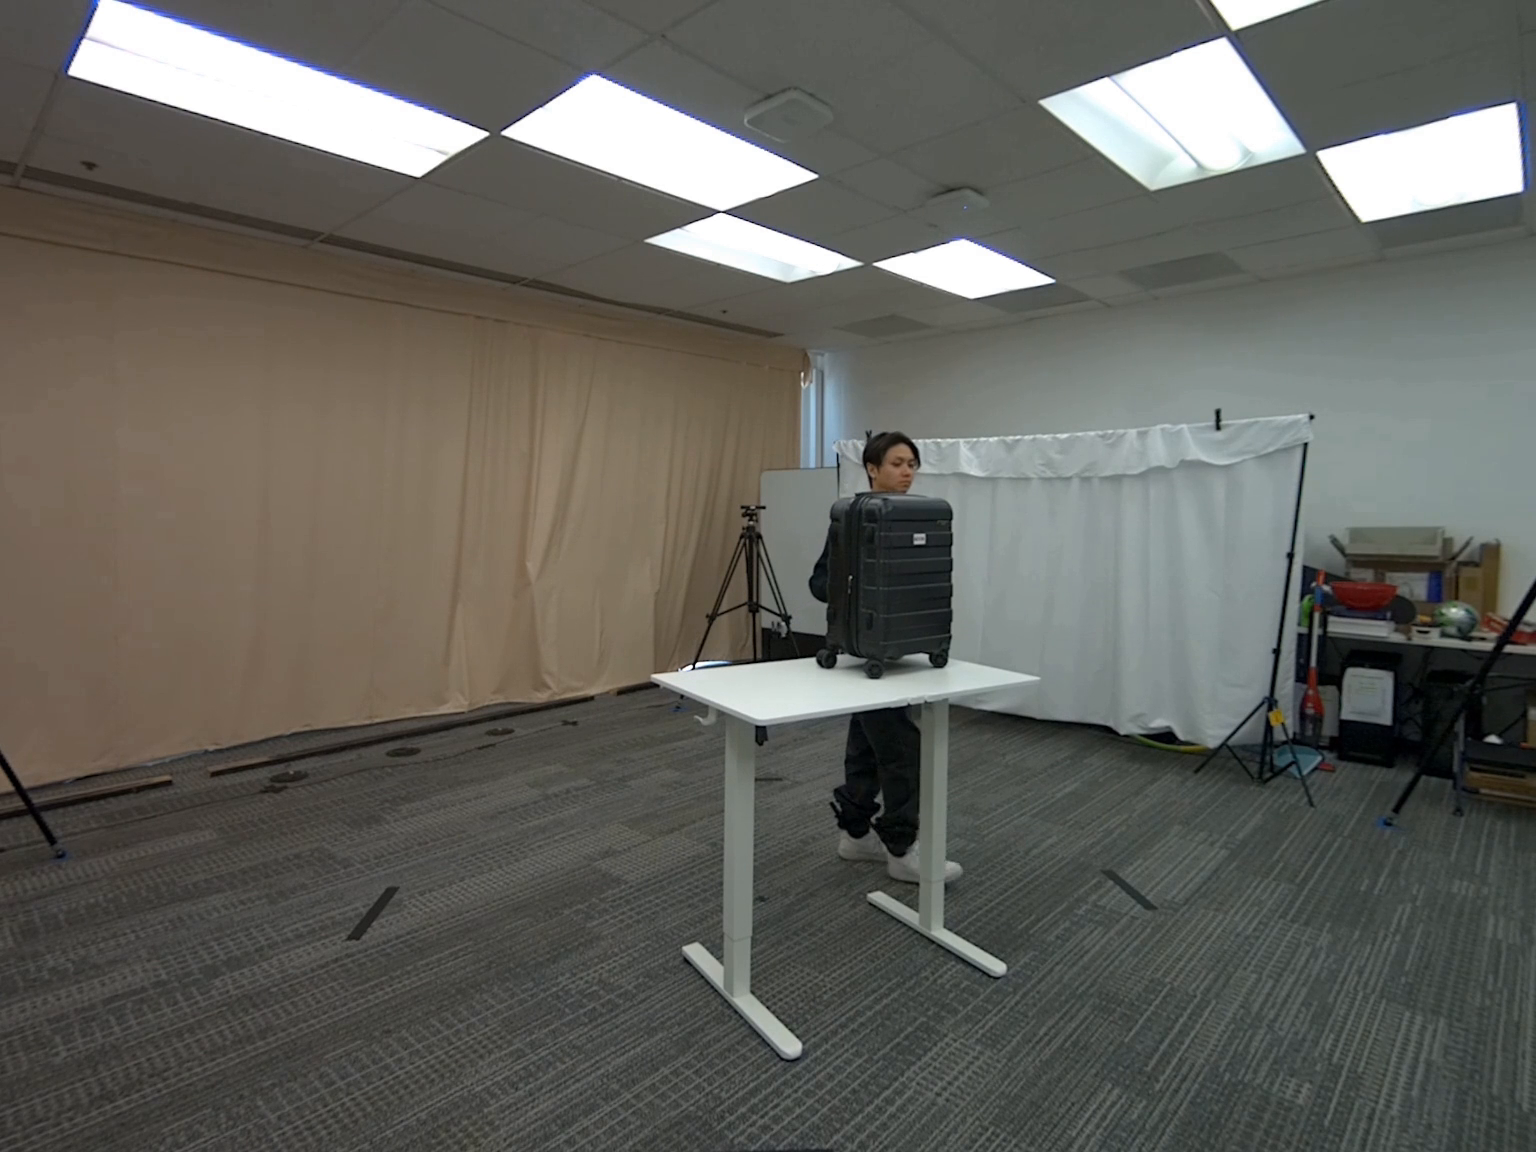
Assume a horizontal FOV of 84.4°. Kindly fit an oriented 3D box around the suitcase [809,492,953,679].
[{"bbox_3d":[0.383,0.013,2.644,0.364,0.548,0.256,0,3,-38],"label":"suitcase"}]
